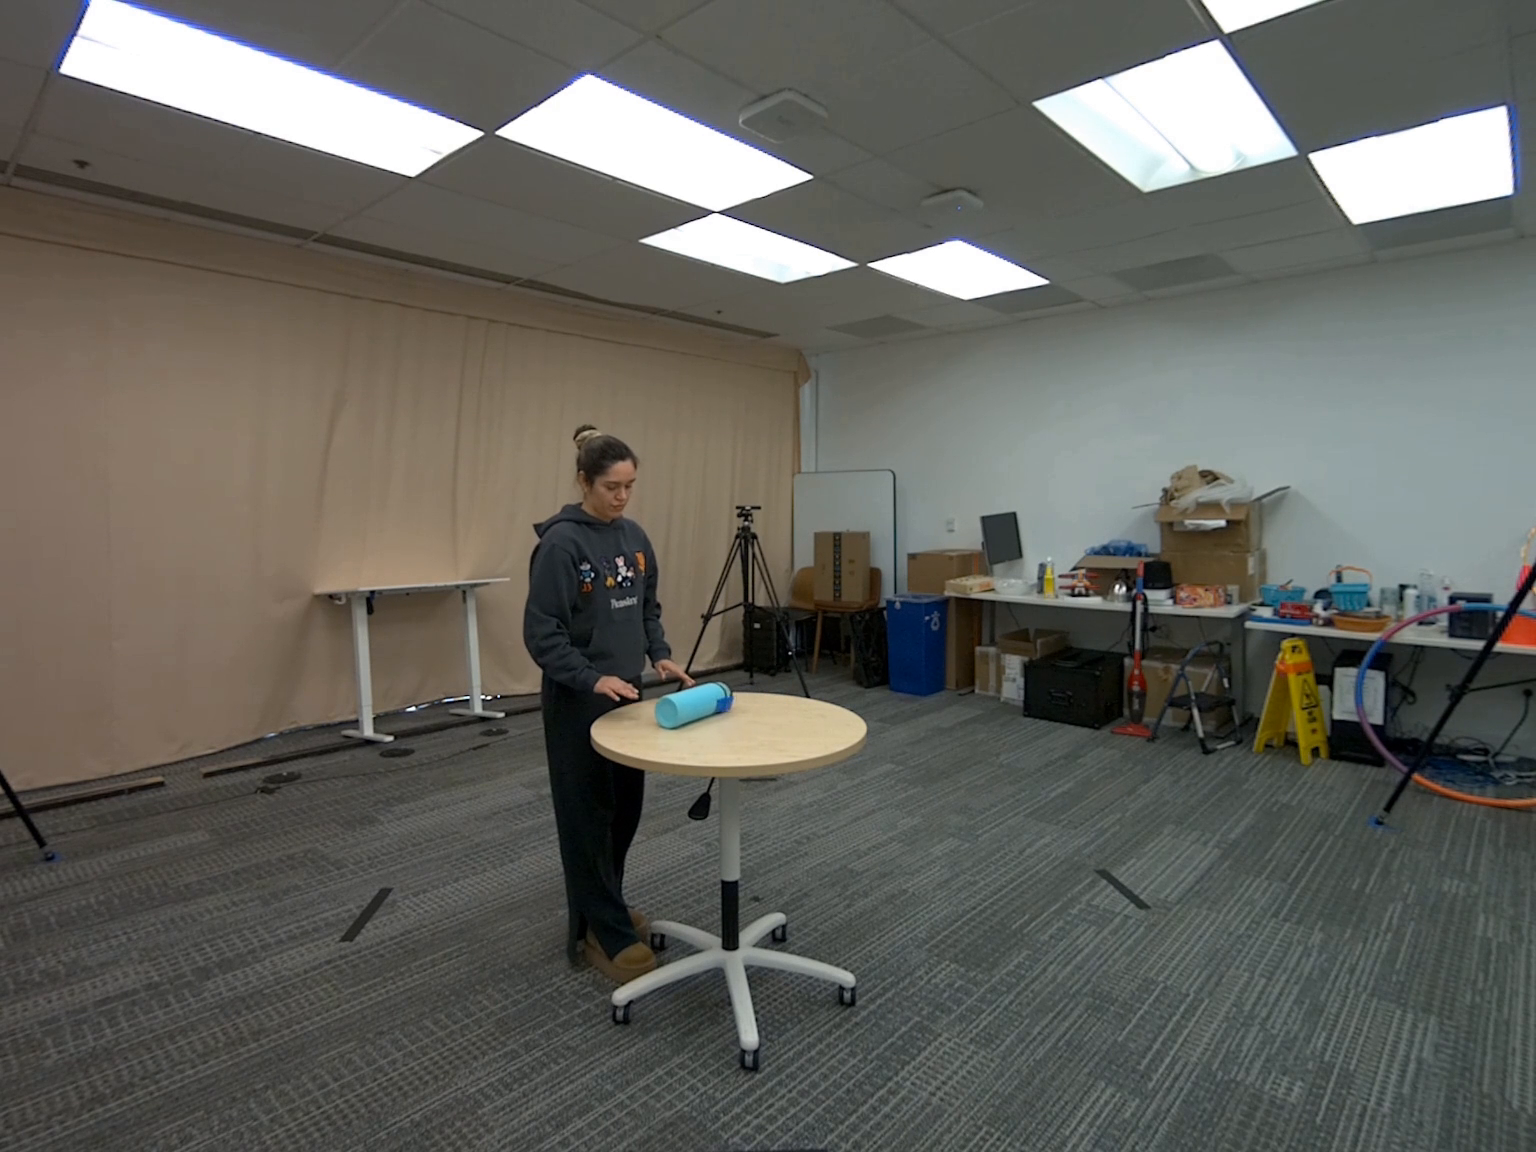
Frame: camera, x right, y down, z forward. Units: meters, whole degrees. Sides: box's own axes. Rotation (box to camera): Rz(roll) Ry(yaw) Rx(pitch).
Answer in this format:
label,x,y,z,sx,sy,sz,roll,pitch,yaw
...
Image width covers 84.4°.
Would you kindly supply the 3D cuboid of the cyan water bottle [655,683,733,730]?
label,x,y,z,sx,sy,sz,roll,pitch,yaw
cyan water bottle,-0.191,0.364,2.418,0.095,0.092,0.275,3,6,36
